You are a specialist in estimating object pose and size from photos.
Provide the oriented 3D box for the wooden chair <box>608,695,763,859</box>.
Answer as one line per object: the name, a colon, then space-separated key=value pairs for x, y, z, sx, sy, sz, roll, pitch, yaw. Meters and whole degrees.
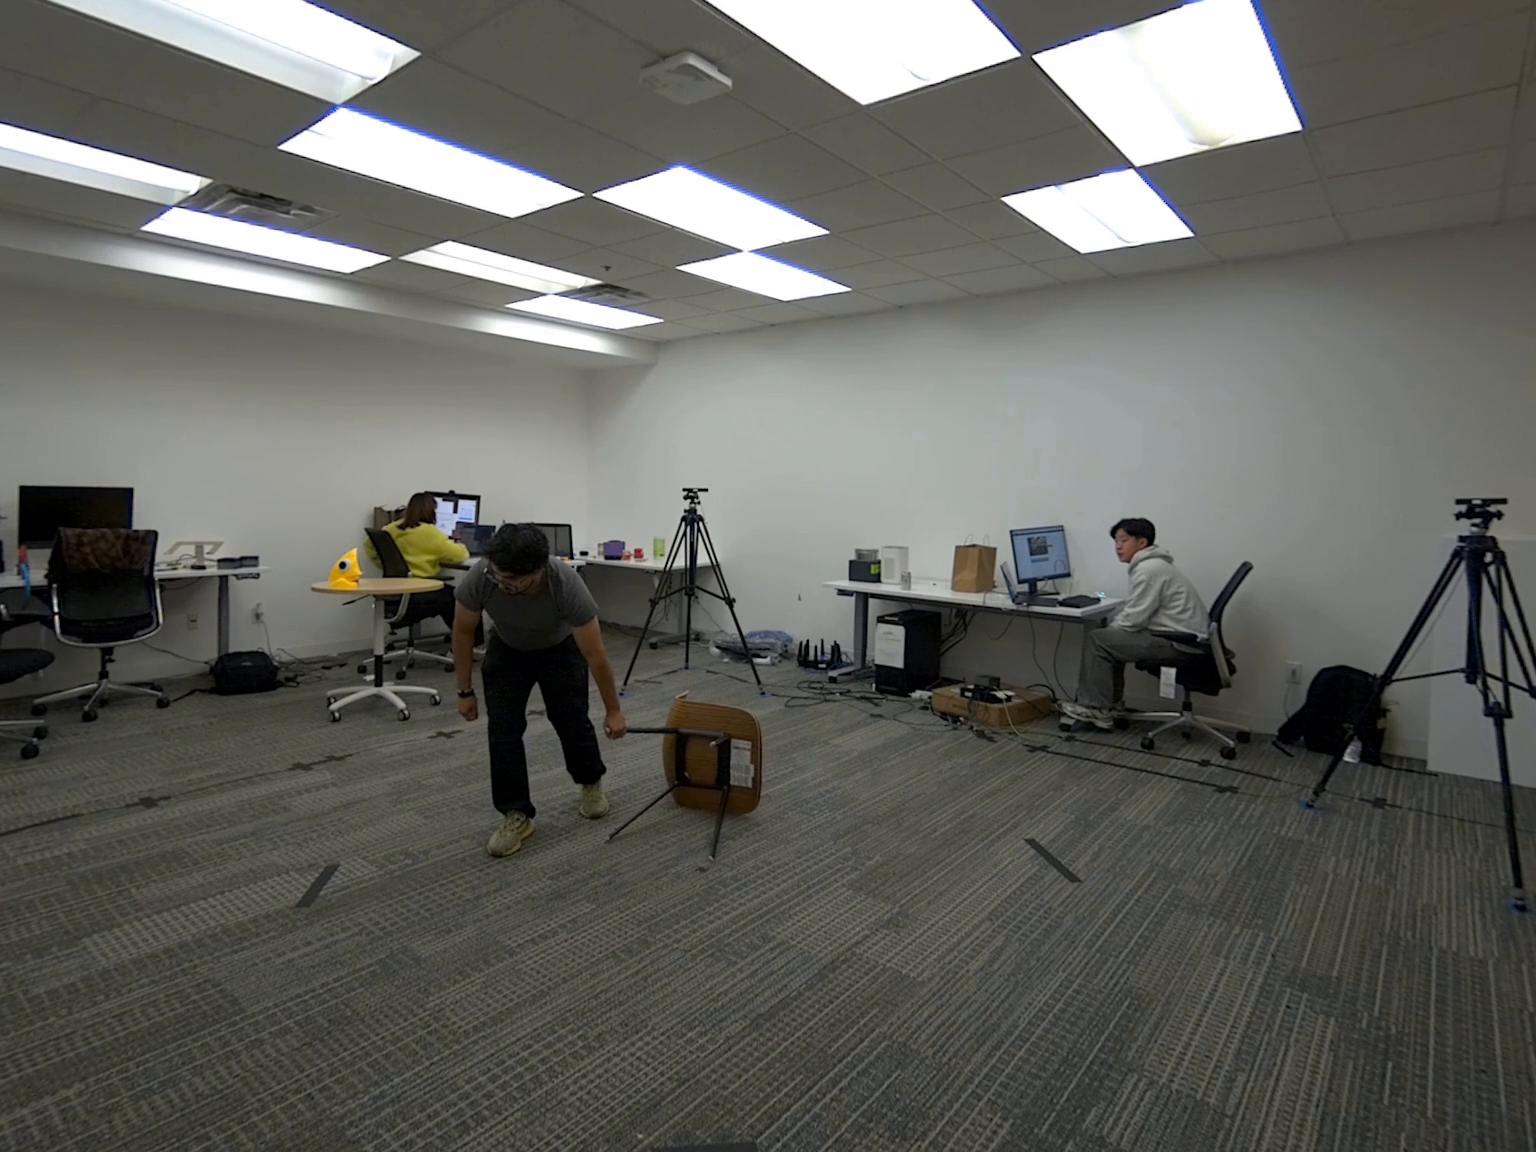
wooden chair: x=-0.294 y=0.787 z=3.631 sx=0.532 sy=0.476 sz=0.866 roll=2 pitch=5 yaw=14
